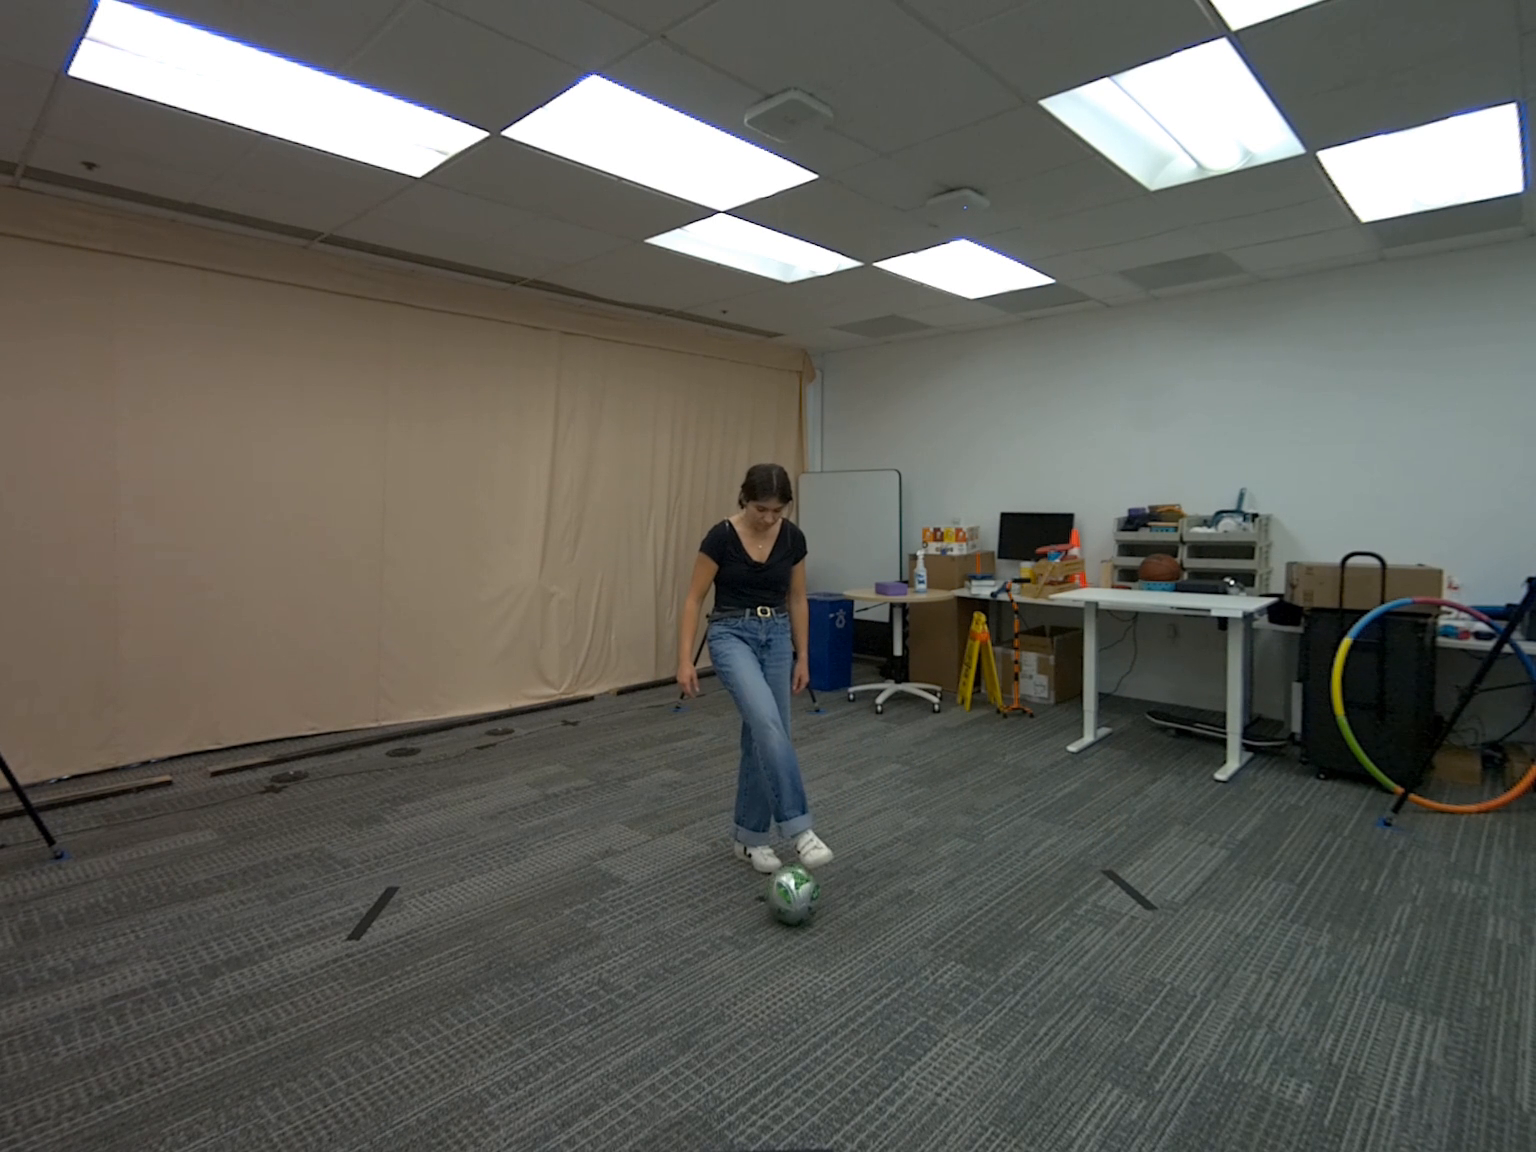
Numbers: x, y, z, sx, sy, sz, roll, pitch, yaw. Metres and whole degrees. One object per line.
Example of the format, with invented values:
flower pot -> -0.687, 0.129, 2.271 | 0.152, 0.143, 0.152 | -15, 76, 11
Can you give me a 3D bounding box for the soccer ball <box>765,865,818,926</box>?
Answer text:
soccer ball -> 0.082, 1.059, 2.825 | 0.187, 0.187, 0.188 | 0, 4, -2
